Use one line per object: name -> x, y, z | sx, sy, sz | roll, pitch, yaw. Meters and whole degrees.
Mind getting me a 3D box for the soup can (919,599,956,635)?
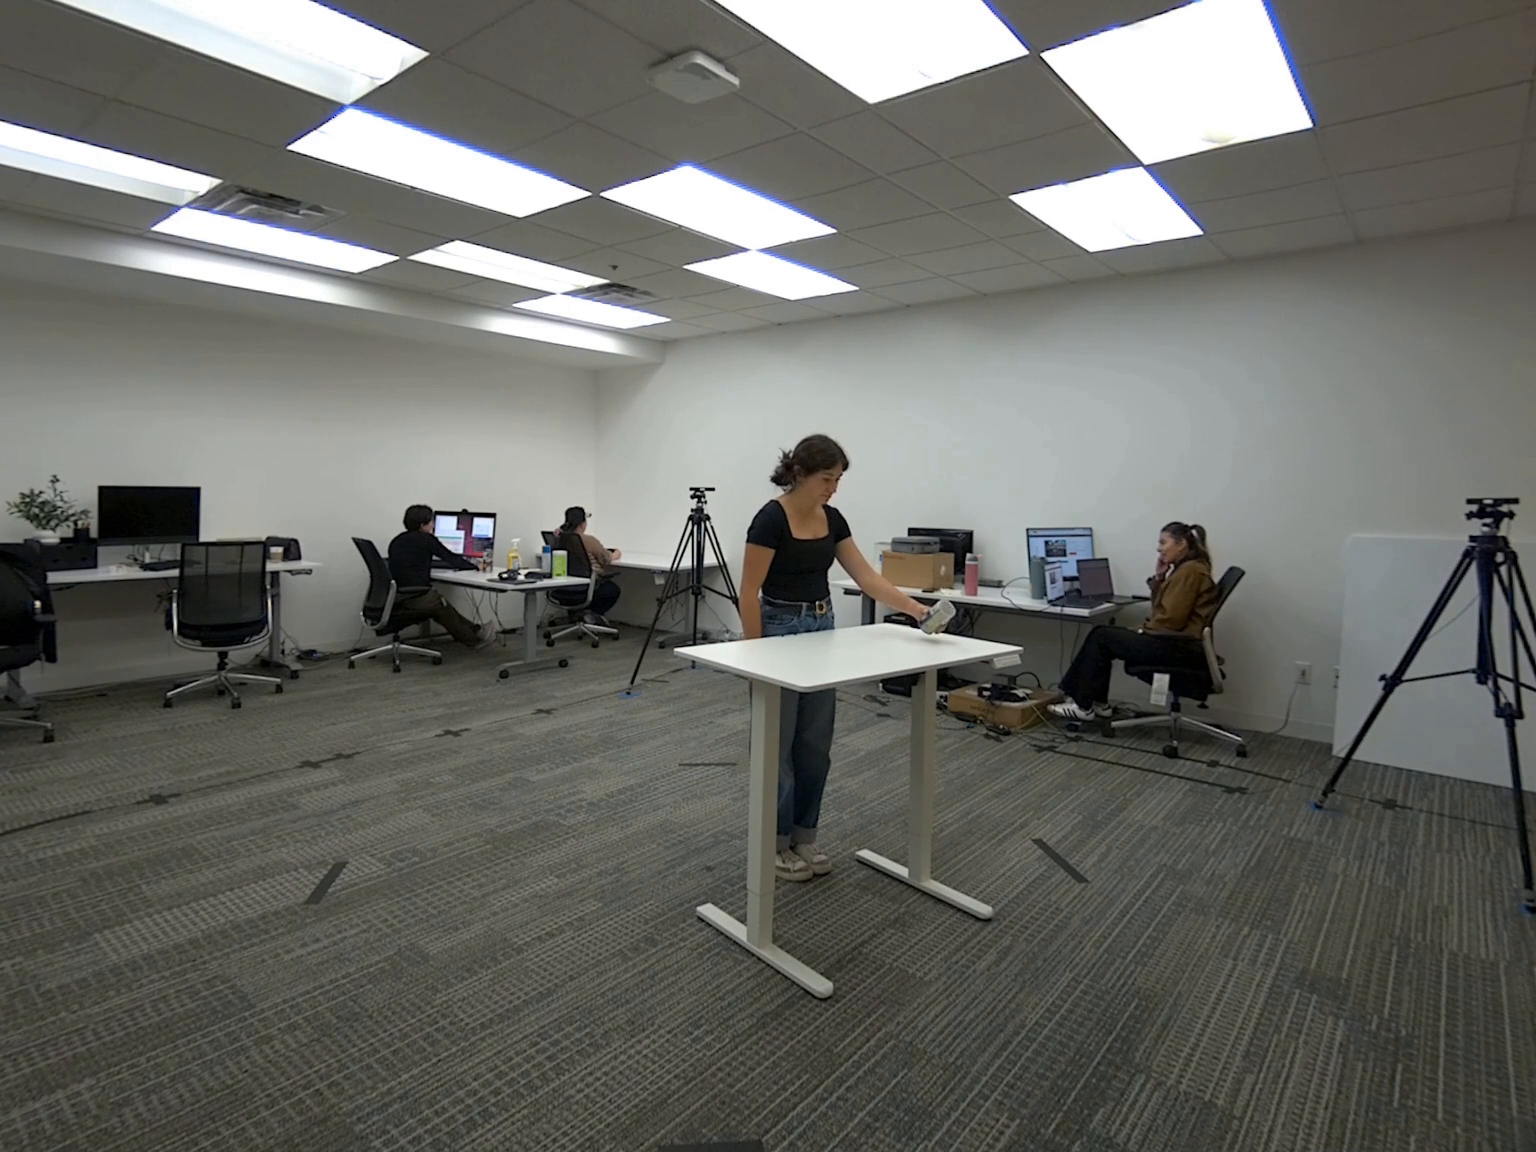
soup can -> 0.560, 0.138, 2.875 | 0.065, 0.121, 0.069 | 24, 35, -20
